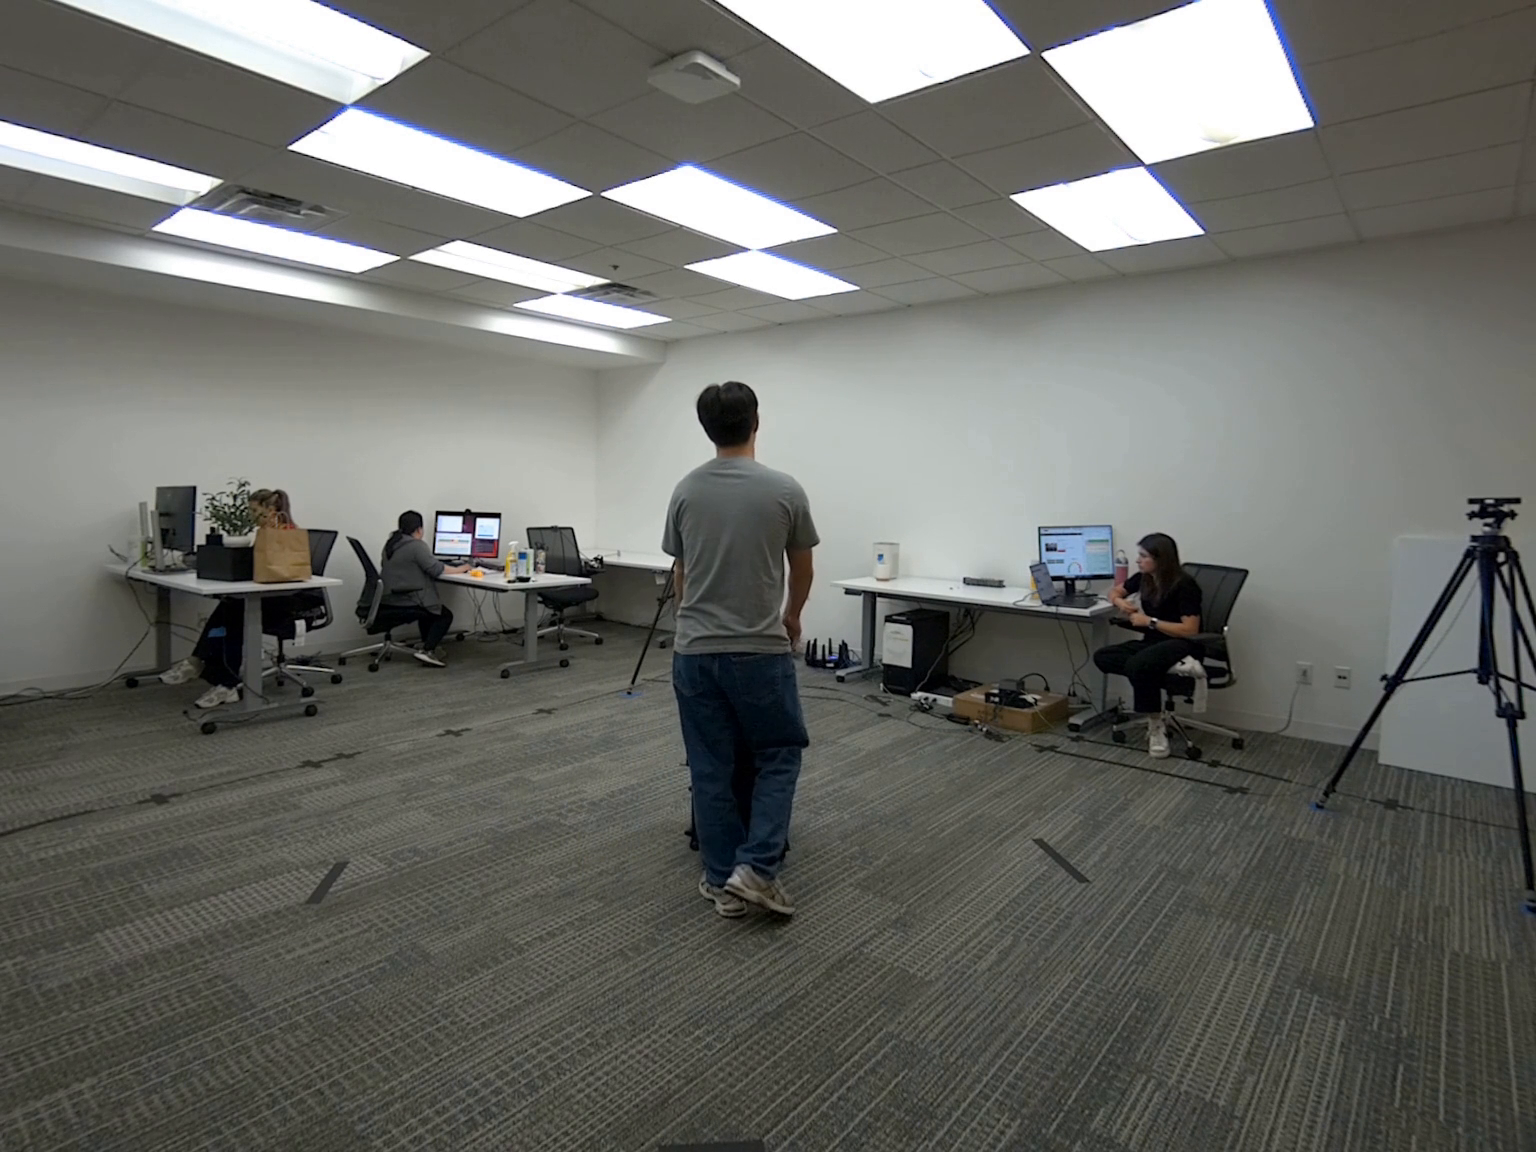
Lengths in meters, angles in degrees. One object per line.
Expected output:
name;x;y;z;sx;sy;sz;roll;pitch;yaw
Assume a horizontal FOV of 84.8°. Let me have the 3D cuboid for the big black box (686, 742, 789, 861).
big black box;-0.132;0.622;3.311;0.396;0.859;0.523;0;3;-2
